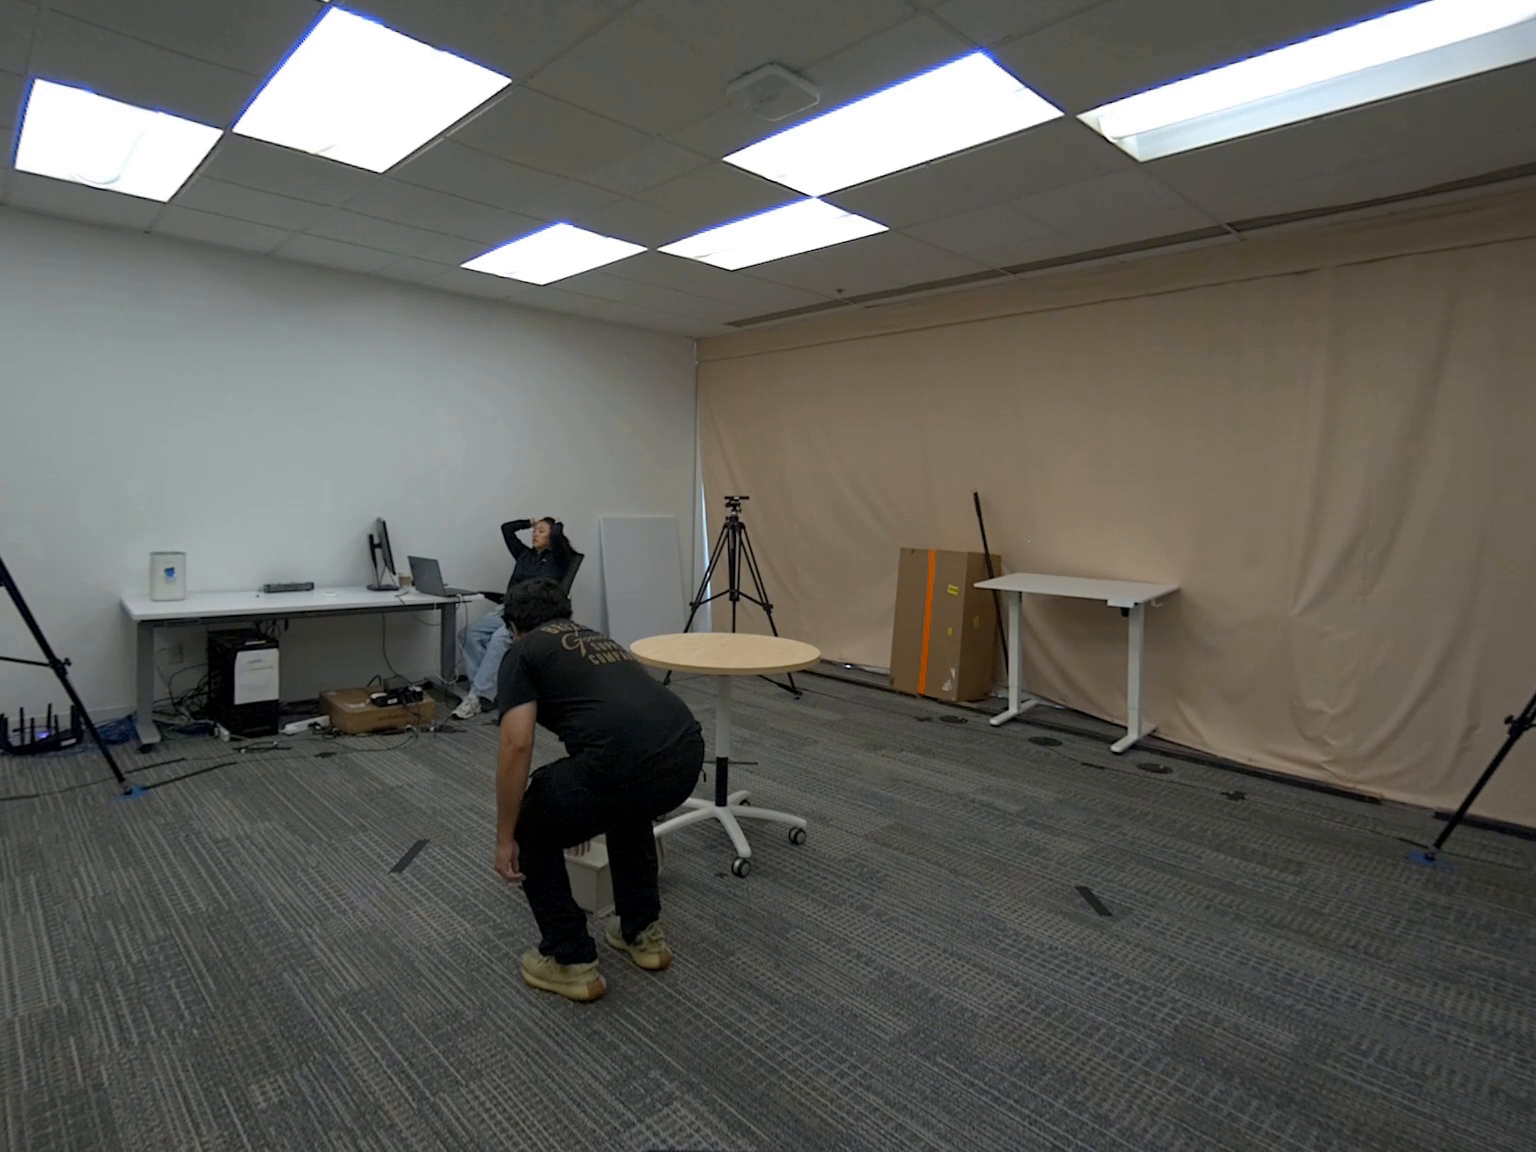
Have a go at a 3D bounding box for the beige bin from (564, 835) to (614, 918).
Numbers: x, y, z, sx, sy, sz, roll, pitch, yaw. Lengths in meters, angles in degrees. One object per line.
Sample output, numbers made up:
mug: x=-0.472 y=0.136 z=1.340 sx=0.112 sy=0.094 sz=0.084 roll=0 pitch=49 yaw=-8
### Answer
beige bin: x=-0.648 y=1.014 z=3.014 sx=0.432 sy=0.188 sz=0.370 roll=5 pitch=7 yaw=30
